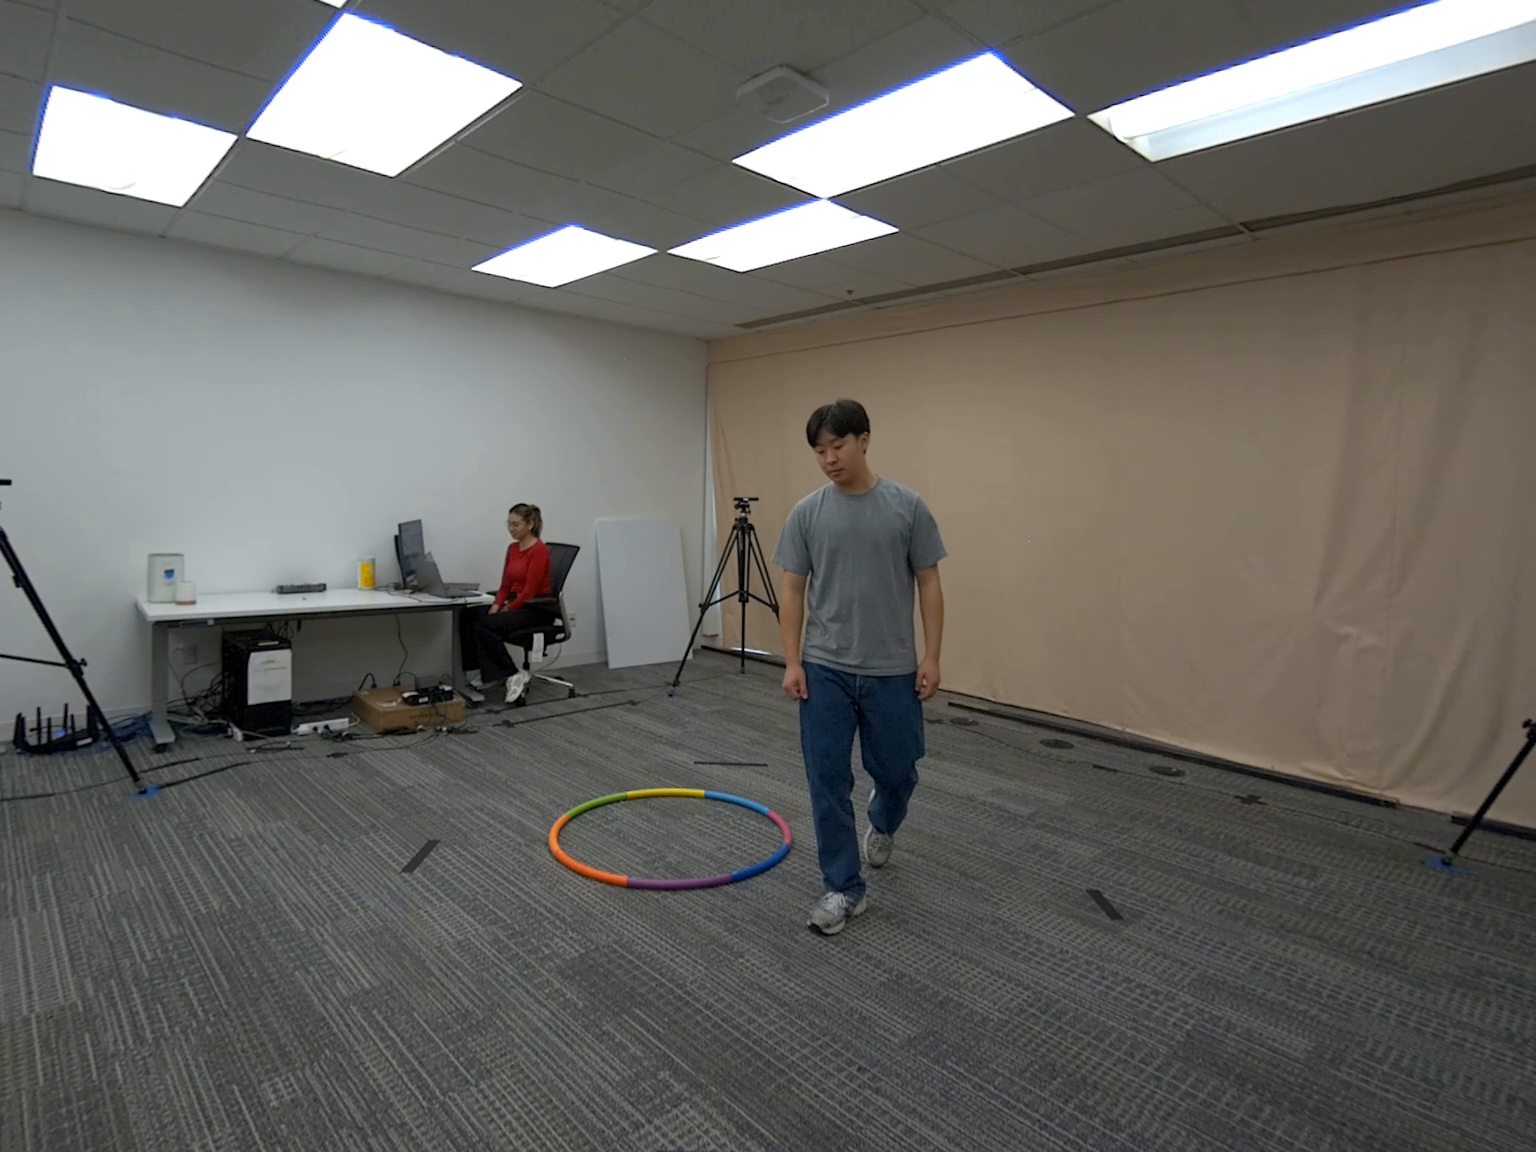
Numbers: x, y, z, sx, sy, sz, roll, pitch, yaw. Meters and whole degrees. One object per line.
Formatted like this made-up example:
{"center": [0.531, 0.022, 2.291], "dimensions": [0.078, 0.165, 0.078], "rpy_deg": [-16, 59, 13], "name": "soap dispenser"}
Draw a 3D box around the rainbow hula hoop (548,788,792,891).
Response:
{"center": [-0.408, 1.039, 3.464], "dimensions": [0.978, 0.035, 0.982], "rpy_deg": [2, 5, -1], "name": "rainbow hula hoop"}
